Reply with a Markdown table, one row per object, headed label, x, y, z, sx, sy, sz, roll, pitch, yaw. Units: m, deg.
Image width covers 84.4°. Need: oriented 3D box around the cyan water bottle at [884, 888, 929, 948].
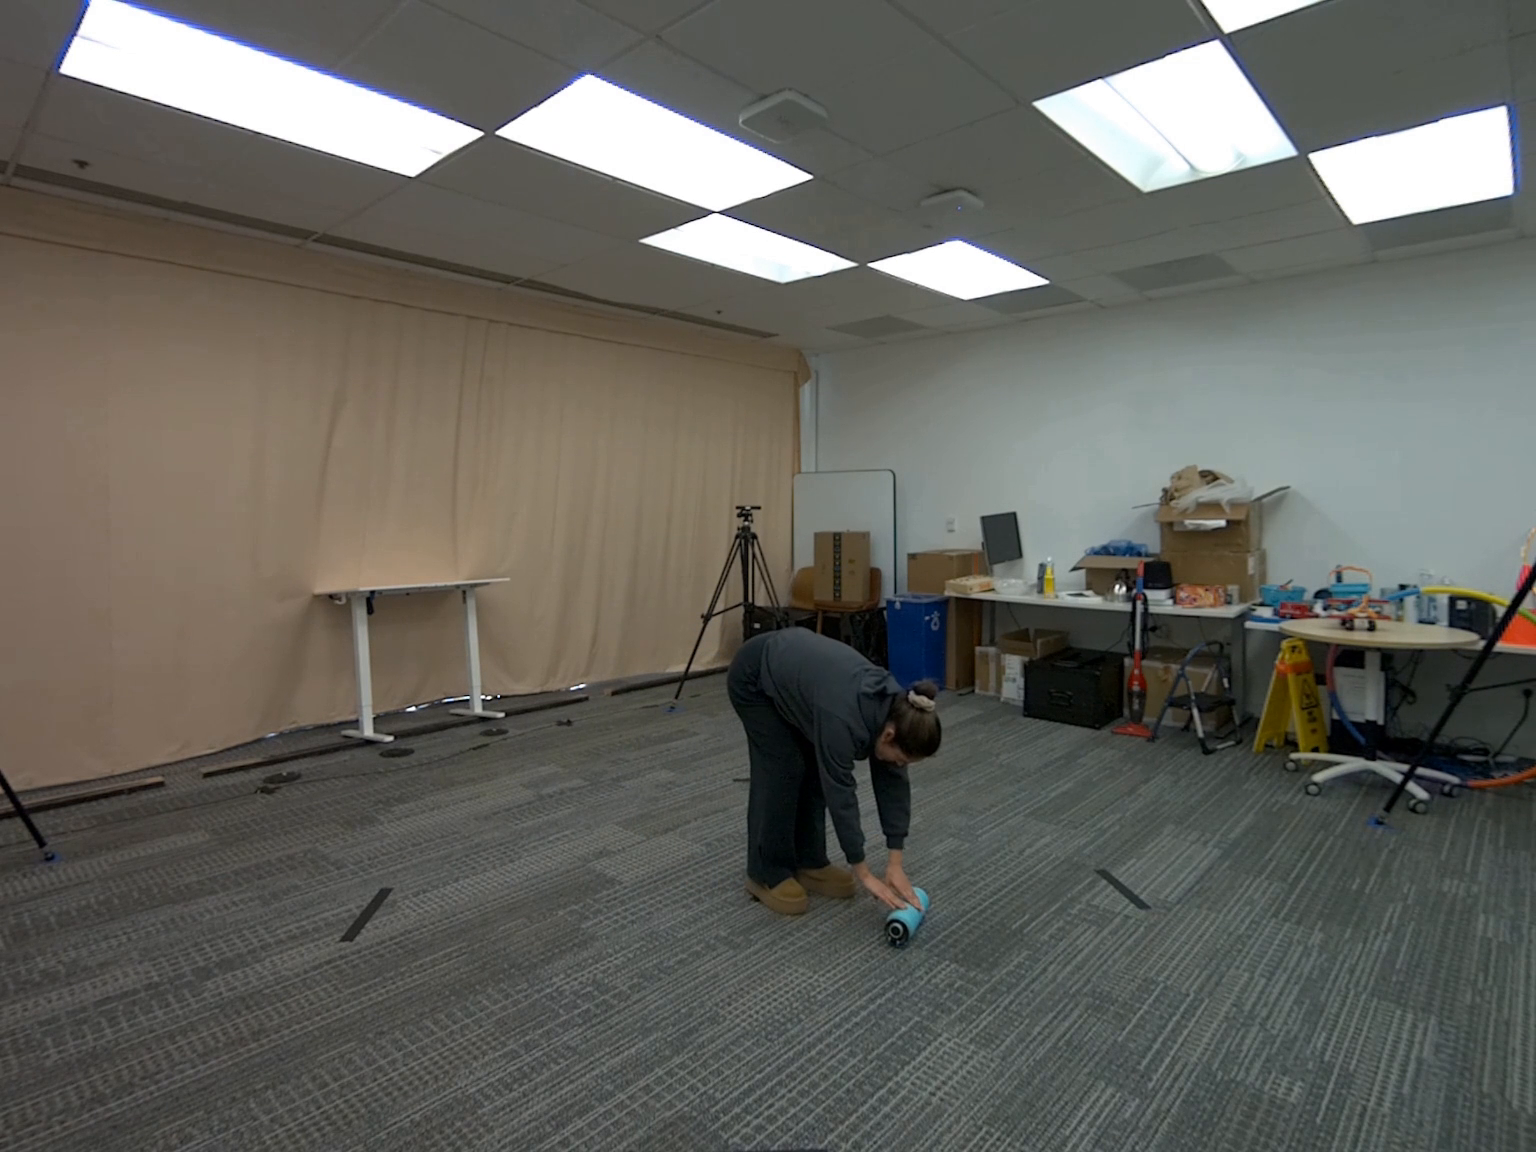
| label | x | y | z | sx | sy | sz | roll | pitch | yaw |
| --- | --- | --- | --- | --- | --- | --- | --- | --- | --- |
| cyan water bottle | 0.473 | 1.109 | 2.746 | 0.094 | 0.092 | 0.277 | 1 | 5 | 23 |
